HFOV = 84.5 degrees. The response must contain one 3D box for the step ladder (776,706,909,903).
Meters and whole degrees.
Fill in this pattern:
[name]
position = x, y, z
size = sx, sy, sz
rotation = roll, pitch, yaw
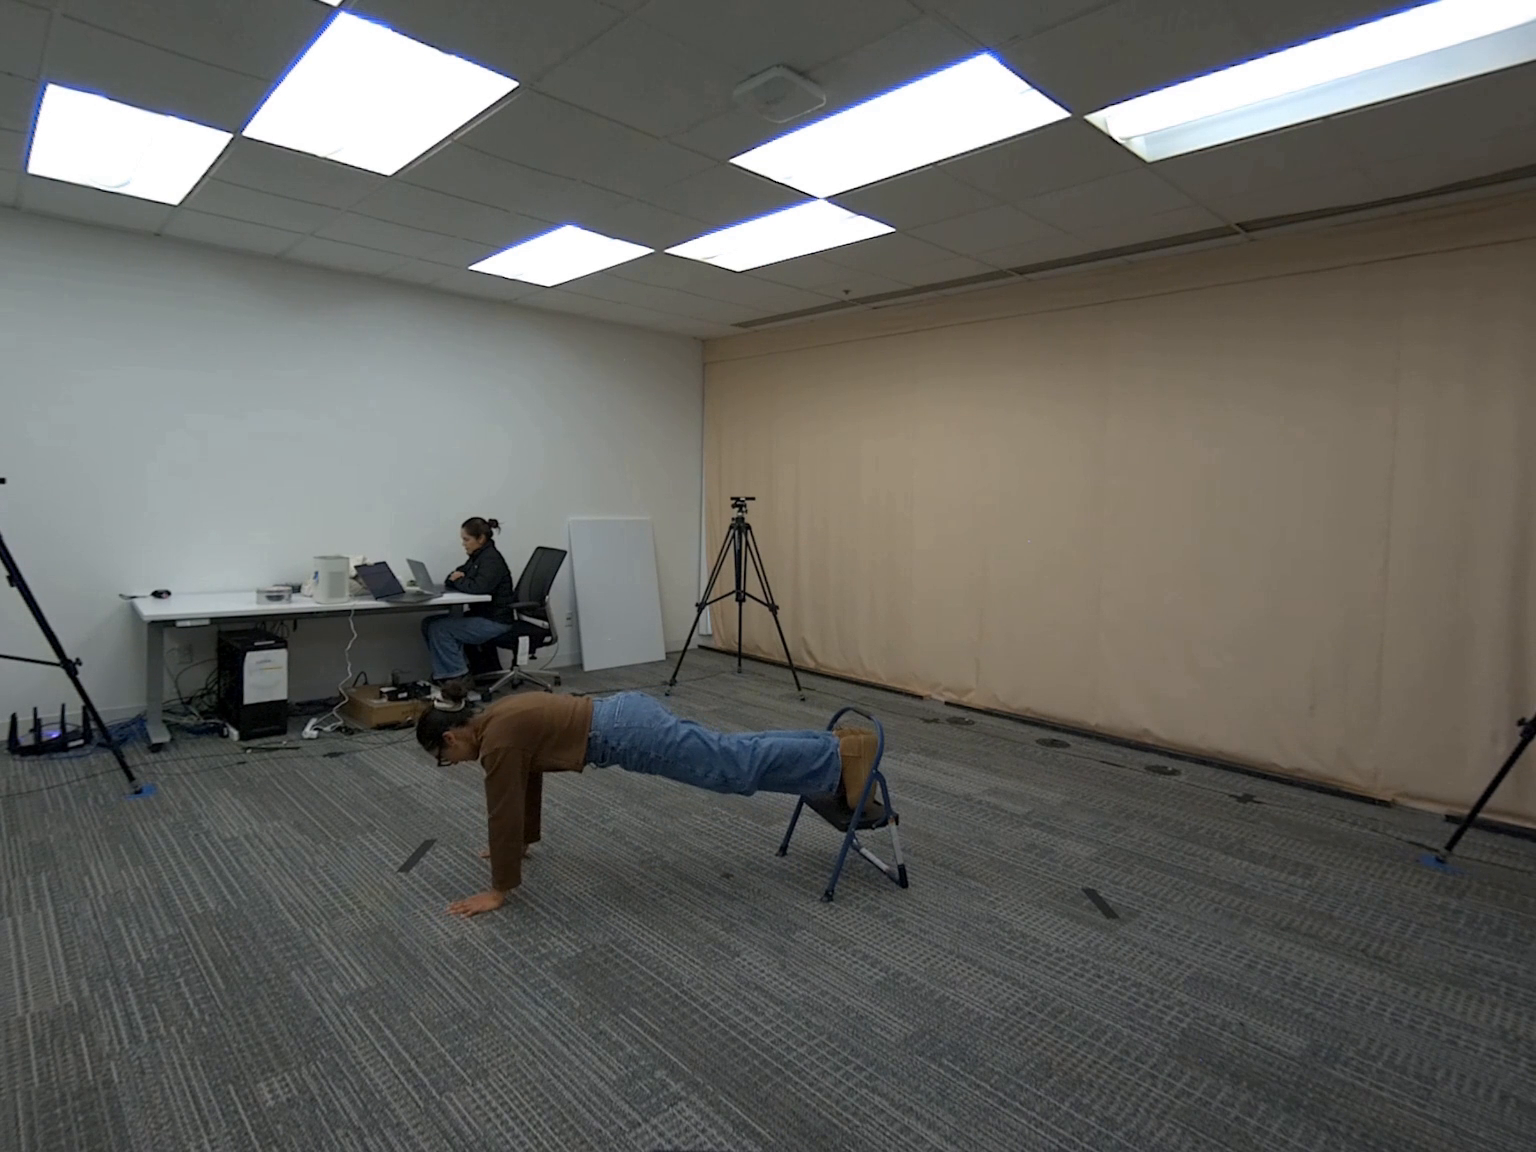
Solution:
[step ladder]
position = 0.275, 0.812, 3.154
size = 0.343, 0.605, 0.439
rotation = 0, 4, -23
